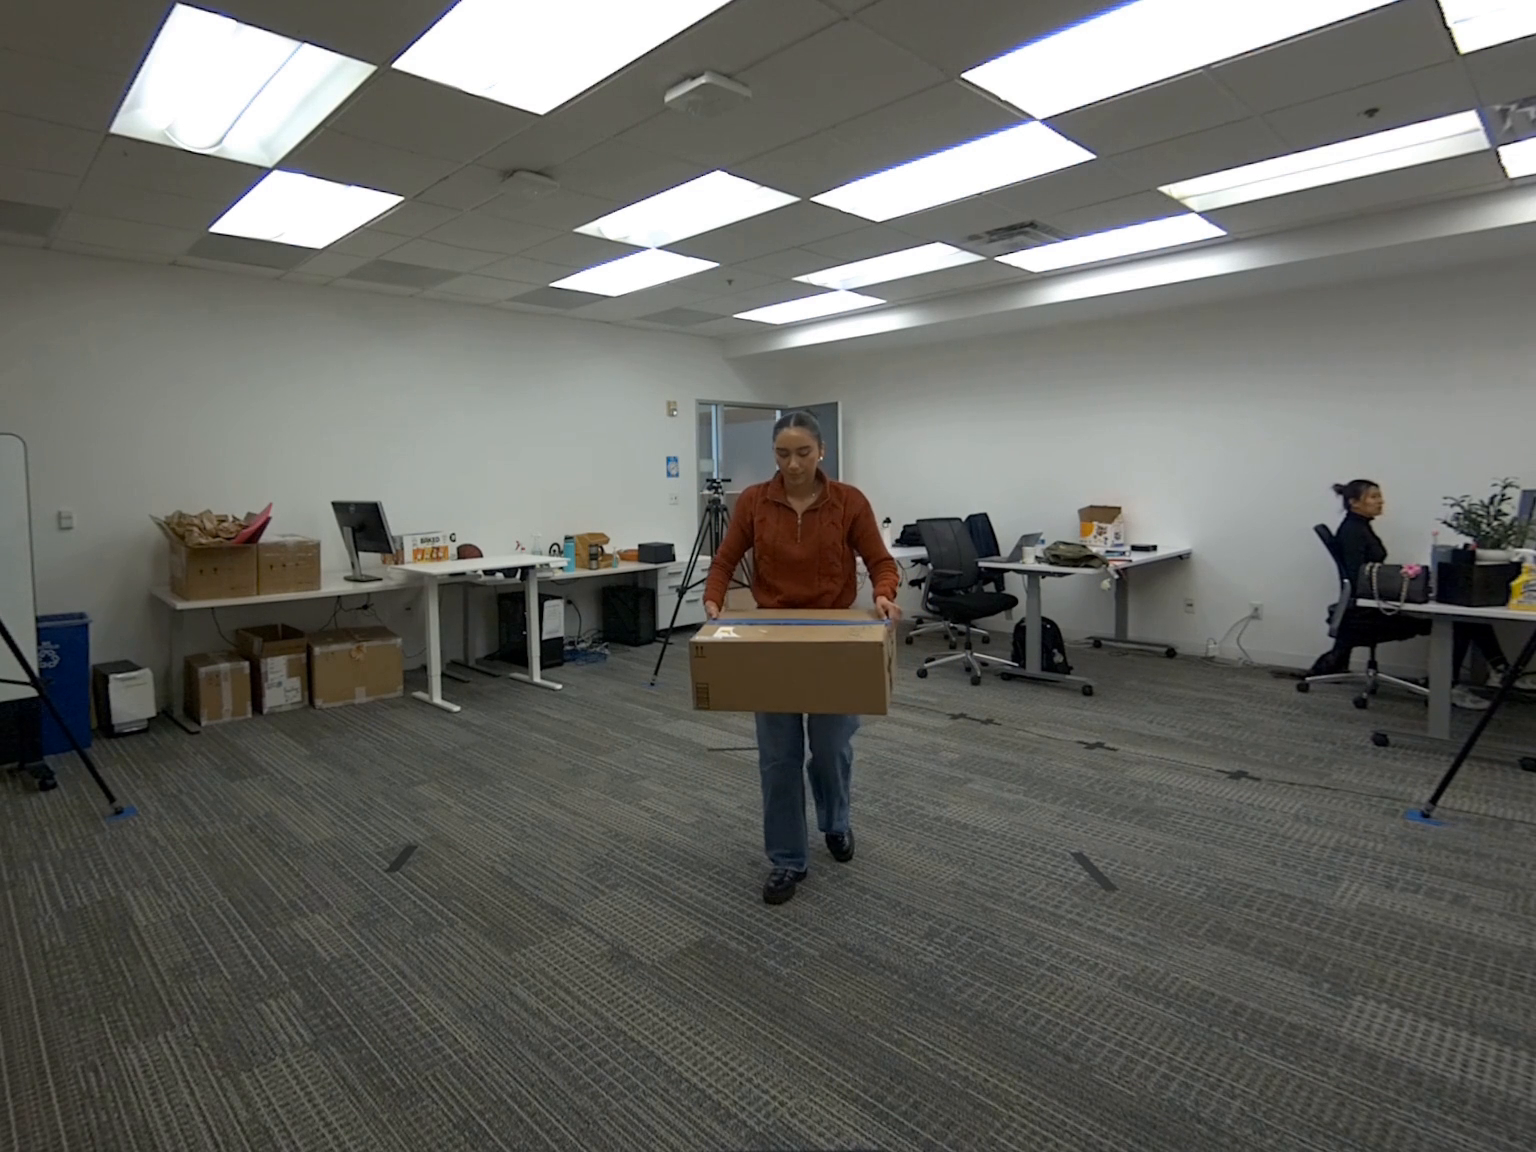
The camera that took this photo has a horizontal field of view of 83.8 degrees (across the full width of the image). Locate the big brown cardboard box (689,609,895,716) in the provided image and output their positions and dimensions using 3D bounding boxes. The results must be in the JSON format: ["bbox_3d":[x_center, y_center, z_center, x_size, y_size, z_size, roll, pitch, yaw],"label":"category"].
[{"bbox_3d":[0.089,0.259,2.632,0.596,0.231,0.415,0,9,13],"label":"big brown cardboard box"}]
